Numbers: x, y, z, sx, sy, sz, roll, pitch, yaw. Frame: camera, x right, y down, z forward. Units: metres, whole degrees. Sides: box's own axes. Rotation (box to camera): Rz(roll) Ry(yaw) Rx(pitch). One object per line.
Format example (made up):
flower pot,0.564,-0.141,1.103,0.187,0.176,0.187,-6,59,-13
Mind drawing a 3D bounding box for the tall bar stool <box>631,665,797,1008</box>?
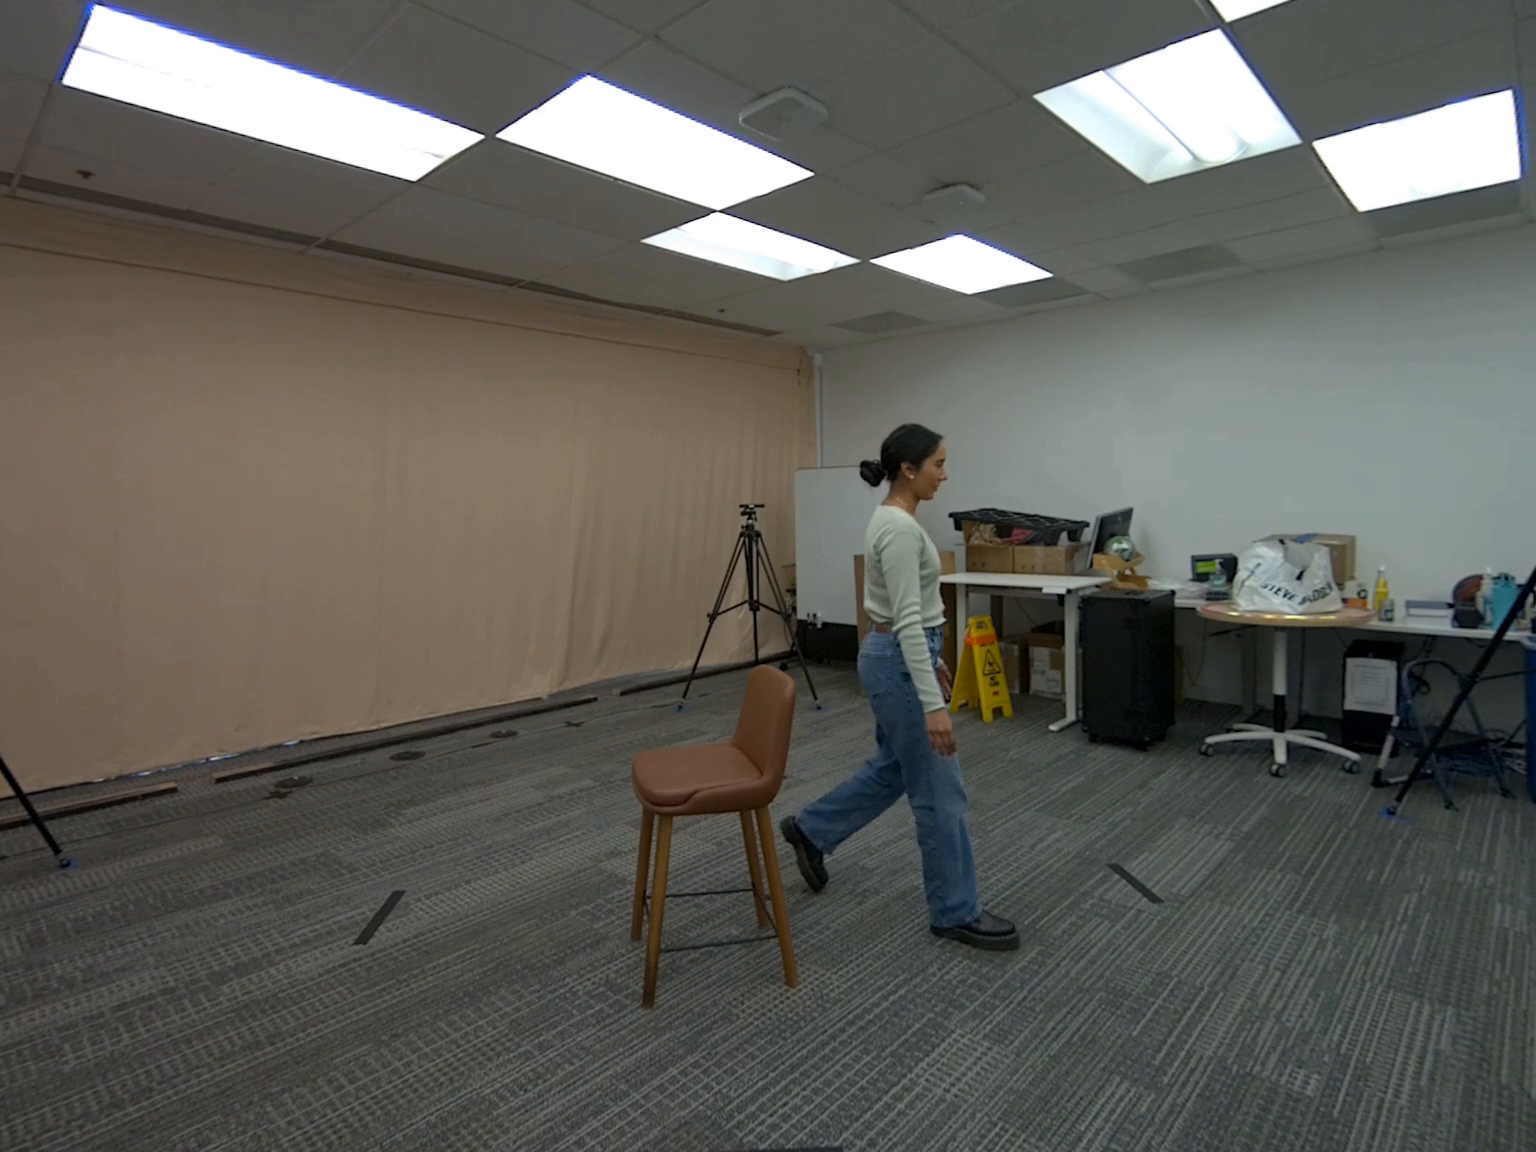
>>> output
tall bar stool,-0.175,0.746,2.549,0.461,0.888,0.464,0,3,-13
